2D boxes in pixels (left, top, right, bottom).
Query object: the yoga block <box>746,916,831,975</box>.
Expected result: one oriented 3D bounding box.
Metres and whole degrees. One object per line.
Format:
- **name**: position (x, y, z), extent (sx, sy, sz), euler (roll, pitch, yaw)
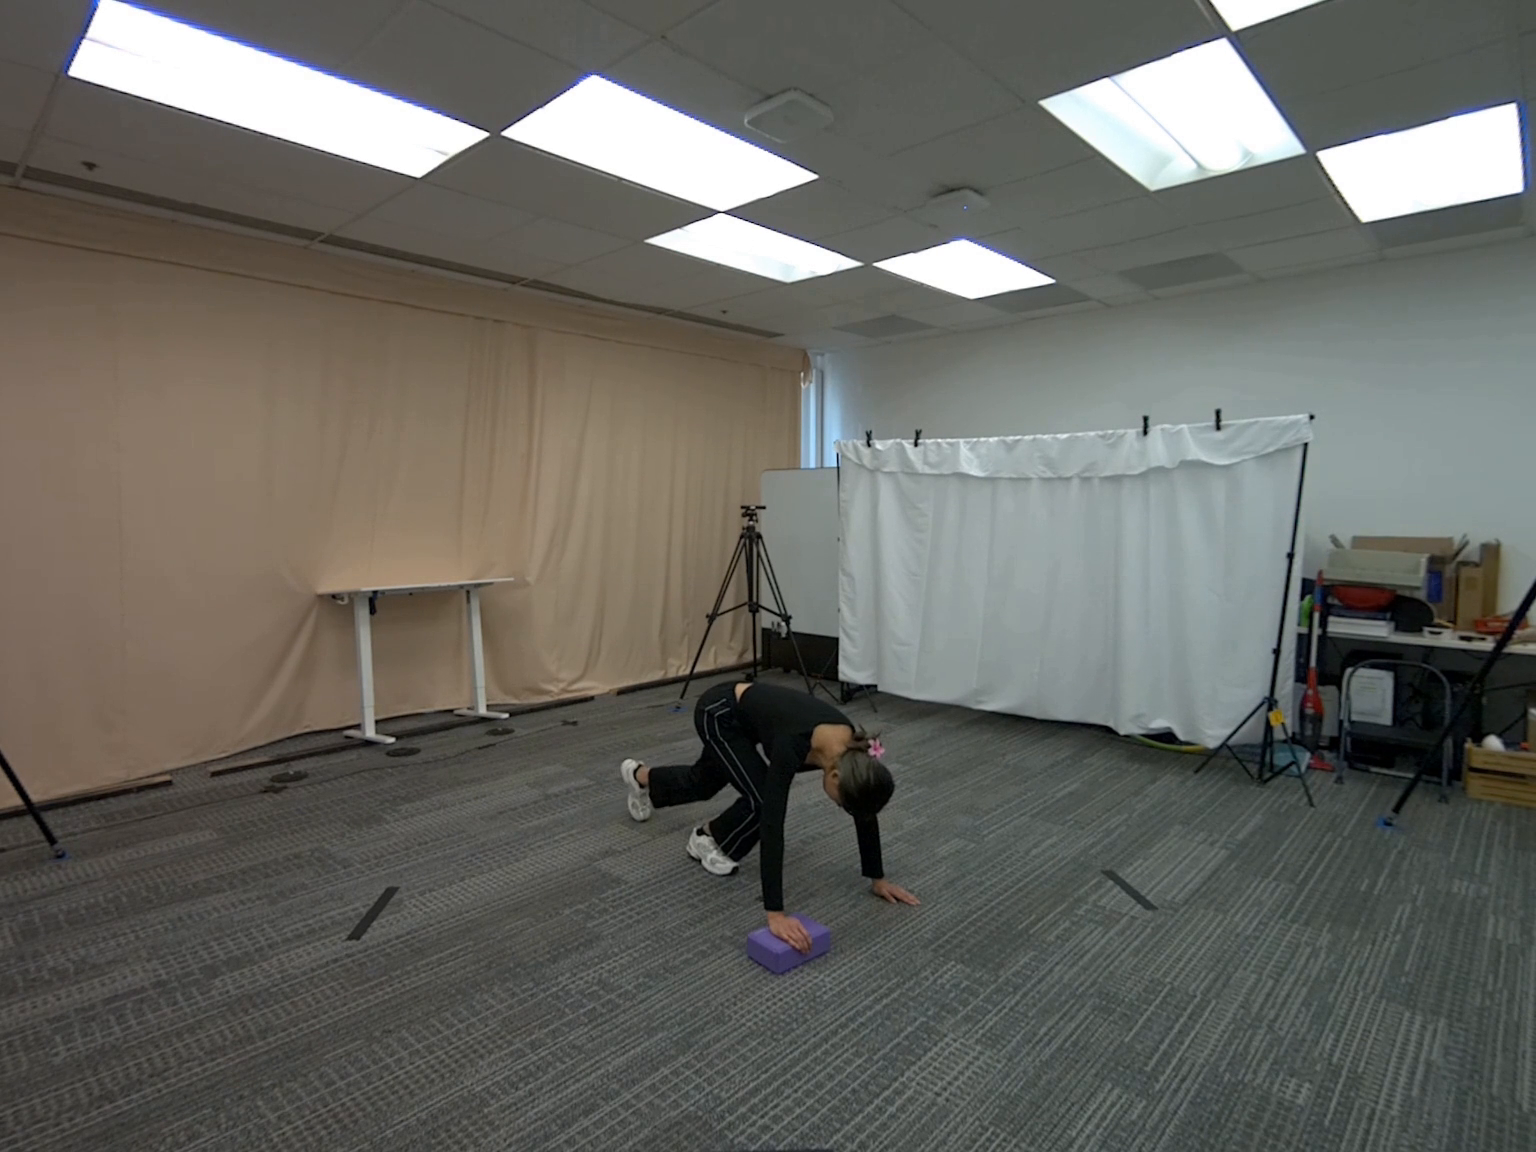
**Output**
- **yoga block**: position (0.068, 1.136, 2.617), extent (0.222, 0.076, 0.154), euler (-5, 7, -40)
